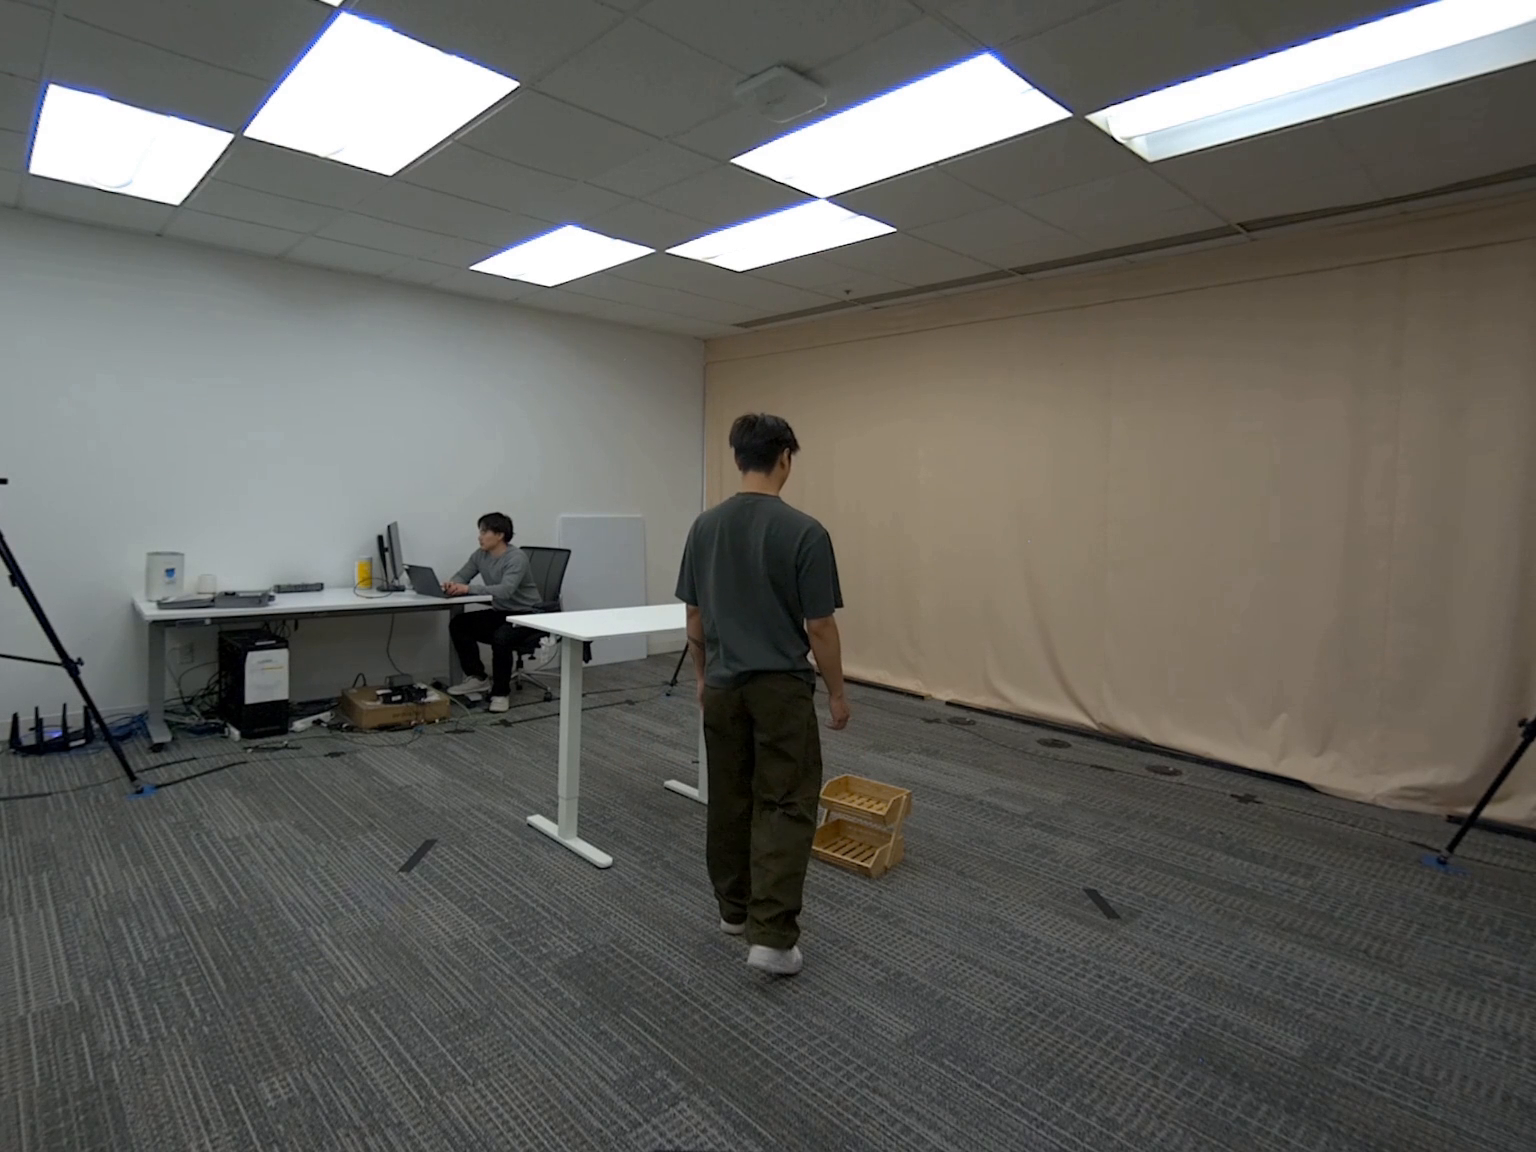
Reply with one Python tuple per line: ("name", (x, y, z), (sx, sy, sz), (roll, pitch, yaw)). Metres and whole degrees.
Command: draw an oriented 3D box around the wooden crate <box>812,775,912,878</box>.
("wooden crate", (0.345, 0.965, 3.300), (0.332, 0.273, 0.295), (4, 4, 39))
